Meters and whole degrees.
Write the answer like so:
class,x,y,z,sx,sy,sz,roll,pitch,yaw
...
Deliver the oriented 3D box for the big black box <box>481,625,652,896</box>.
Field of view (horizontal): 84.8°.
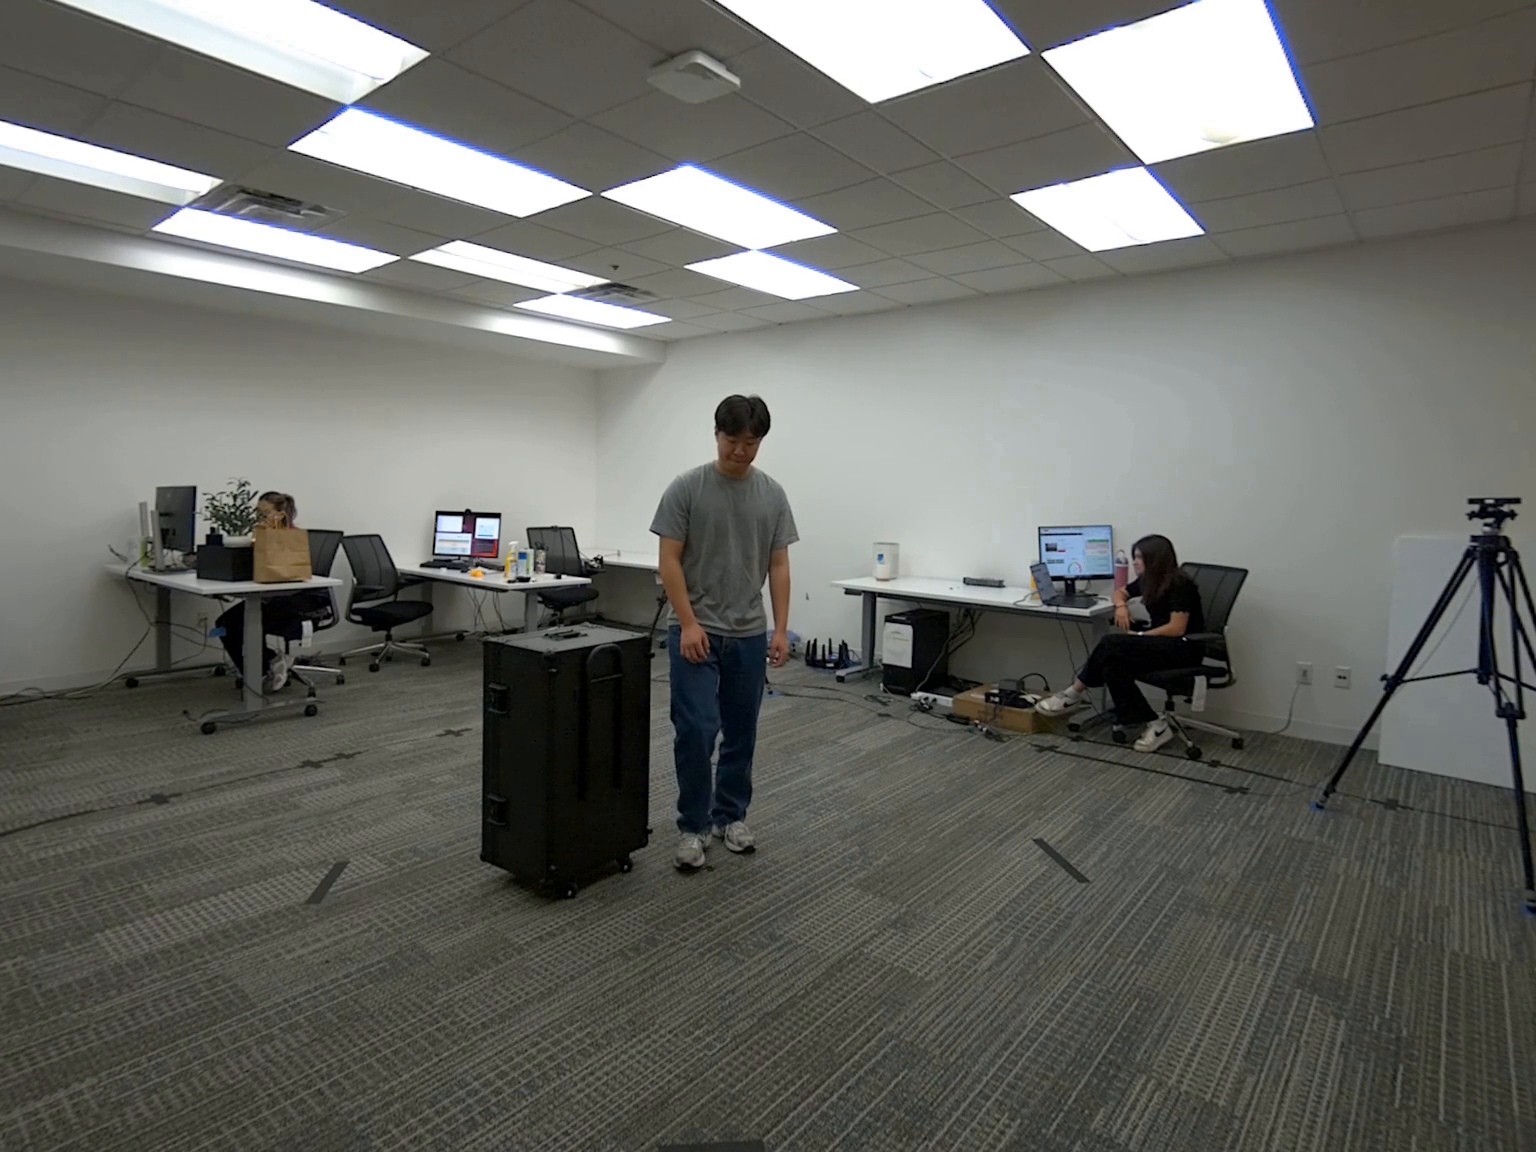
class,x,y,z,sx,sy,sz,roll,pitch,yaw
big black box,-0.720,0.641,3.028,0.409,0.859,0.506,4,4,38
